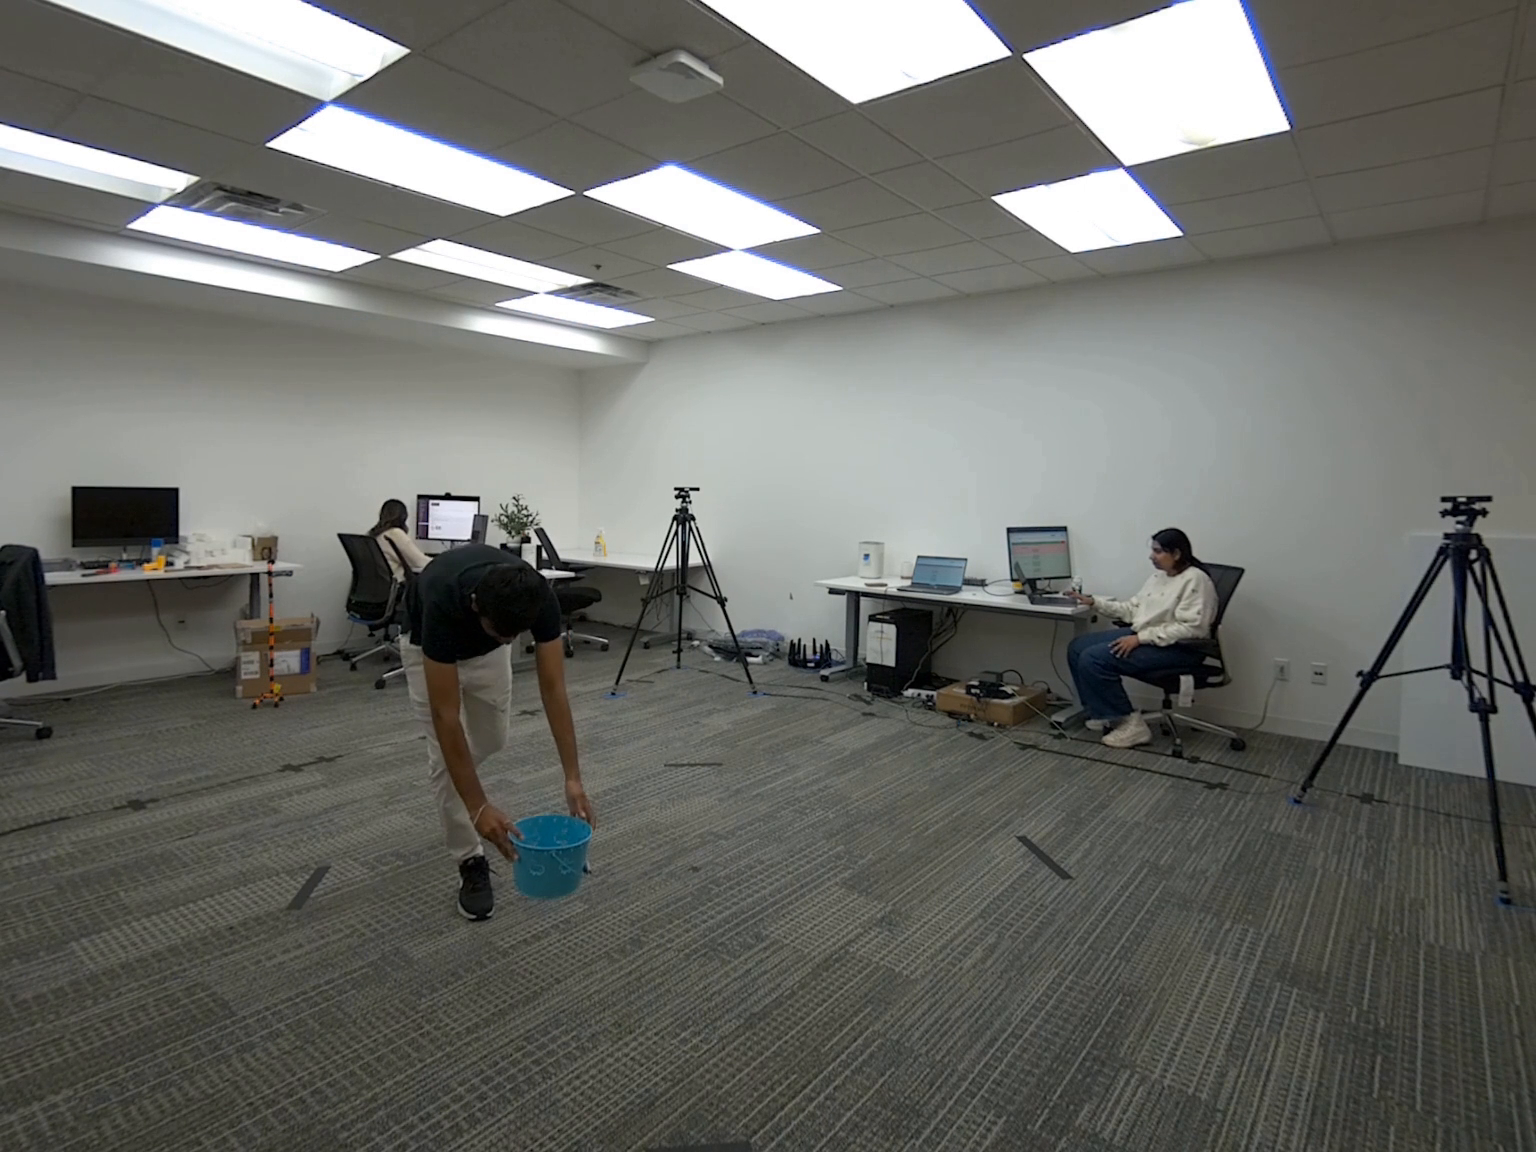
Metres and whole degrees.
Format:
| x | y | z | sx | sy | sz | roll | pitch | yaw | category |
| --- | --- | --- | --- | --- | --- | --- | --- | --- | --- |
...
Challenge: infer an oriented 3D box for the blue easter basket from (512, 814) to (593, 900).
| x | y | z | sx | sy | sz | roll | pitch | yaw | category |
| --- | --- | --- | --- | --- | --- | --- | --- | --- | --- |
| -0.617 | 0.789 | 2.368 | 0.243 | 0.155 | 0.245 | 3 | 7 | -2 | blue easter basket |
